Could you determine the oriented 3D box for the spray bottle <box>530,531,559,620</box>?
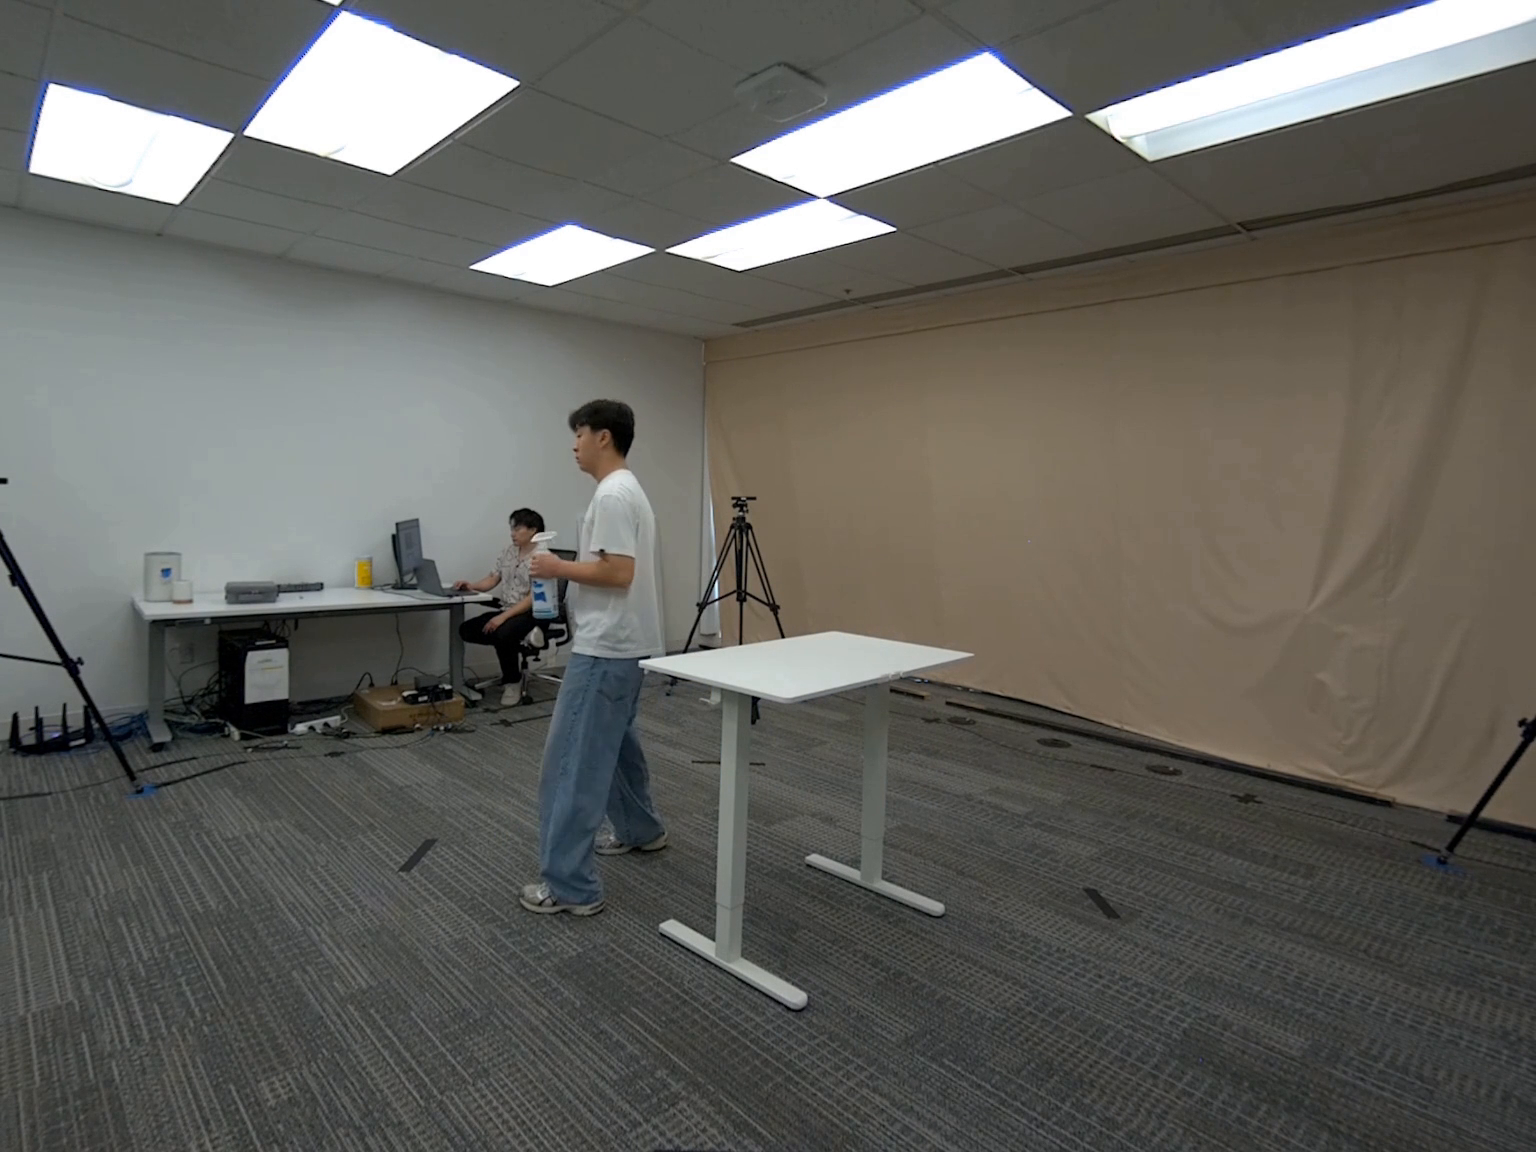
[{"bbox_3d":[-0.774,-0.009,2.936,0.089,0.296,0.088,0,4,-6],"label":"spray bottle"}]
